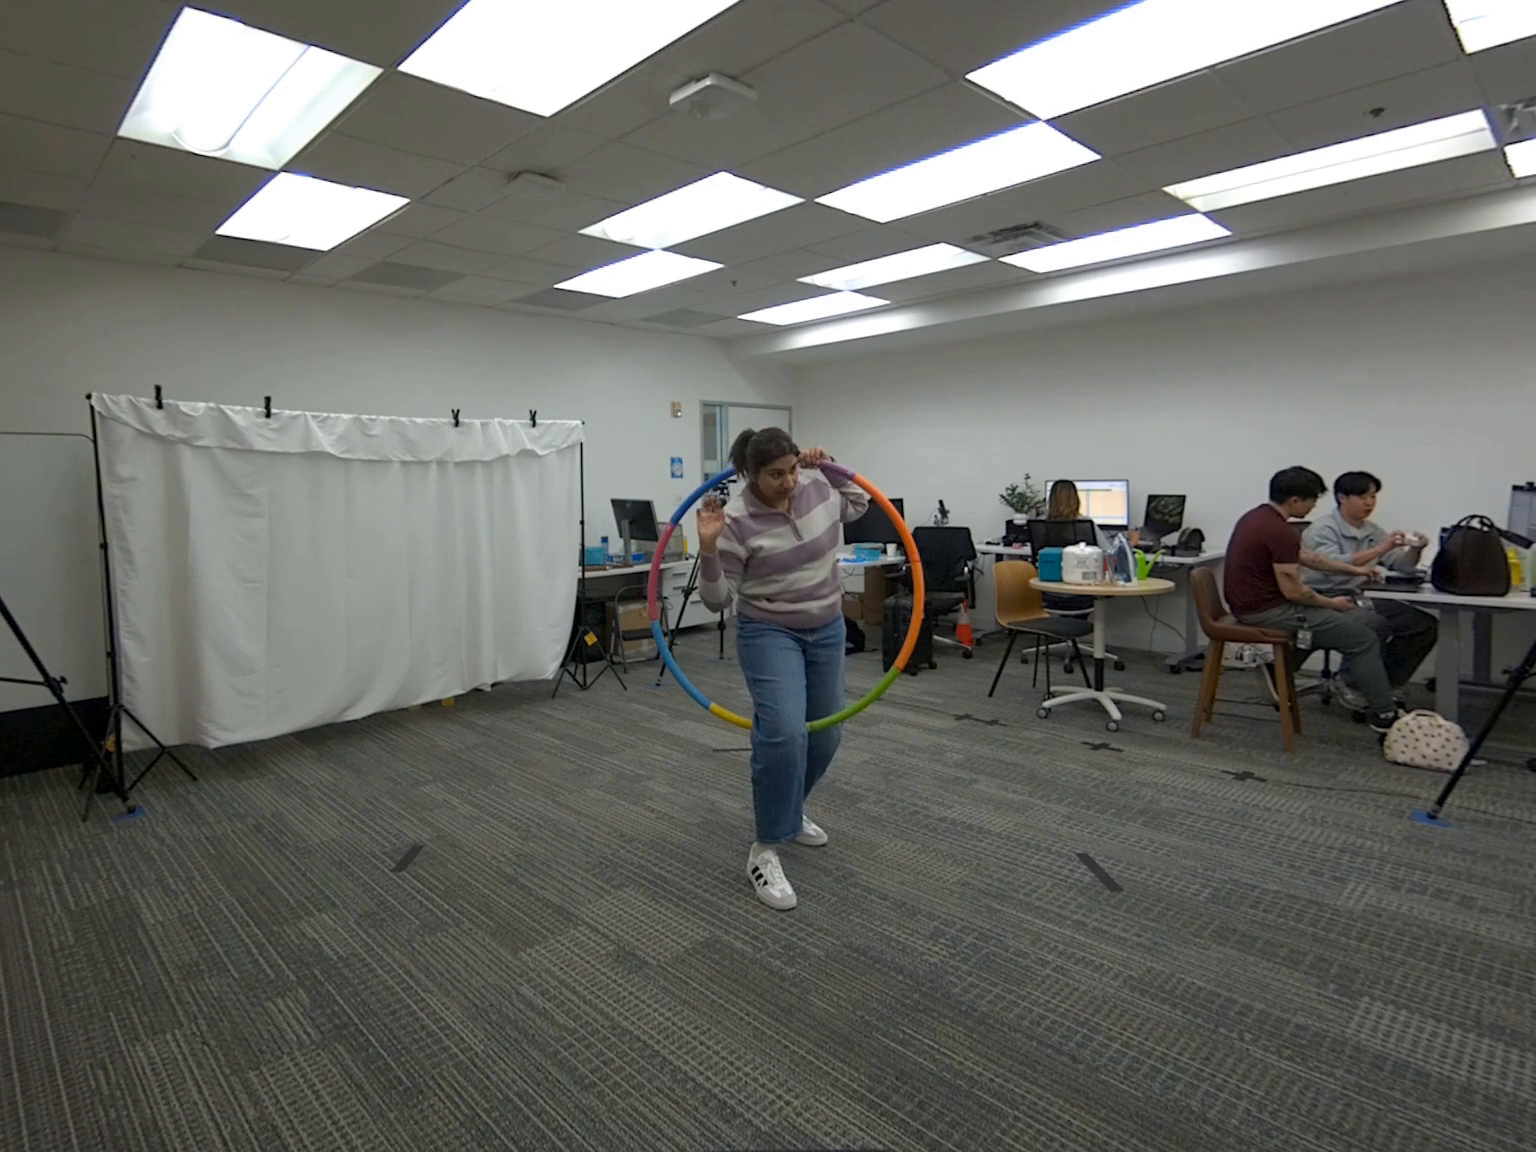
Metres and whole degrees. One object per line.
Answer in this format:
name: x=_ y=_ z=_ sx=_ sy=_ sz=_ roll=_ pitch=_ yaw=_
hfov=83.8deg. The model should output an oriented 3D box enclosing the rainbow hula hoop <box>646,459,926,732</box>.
rainbow hula hoop: x=0.043 y=0.051 z=3.038 sx=0.995 sy=0.988 sz=0.051 roll=0 pitch=-3 yaw=10
